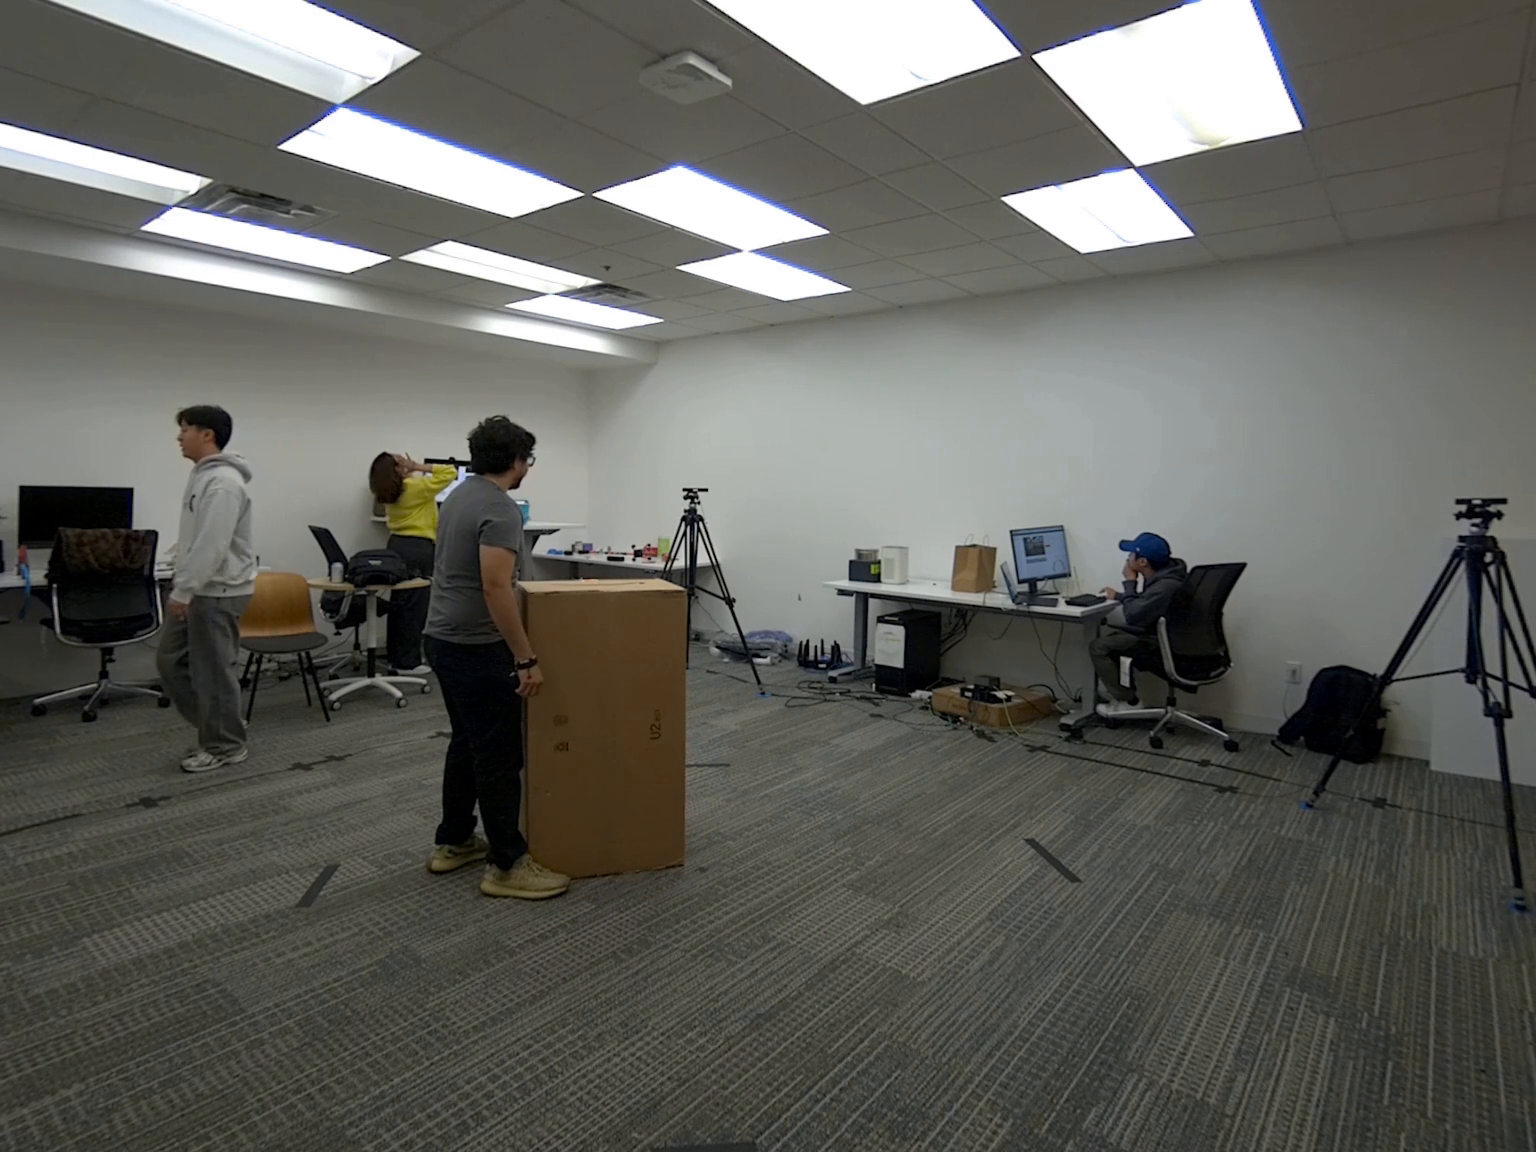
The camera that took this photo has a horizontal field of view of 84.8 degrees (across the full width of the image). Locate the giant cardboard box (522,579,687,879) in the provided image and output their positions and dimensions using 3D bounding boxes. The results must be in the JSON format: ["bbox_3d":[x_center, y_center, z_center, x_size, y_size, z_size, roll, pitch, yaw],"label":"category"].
[{"bbox_3d":[-0.654,0.546,3.230,0.572,1.024,0.457,0,3,-20],"label":"giant cardboard box"}]
